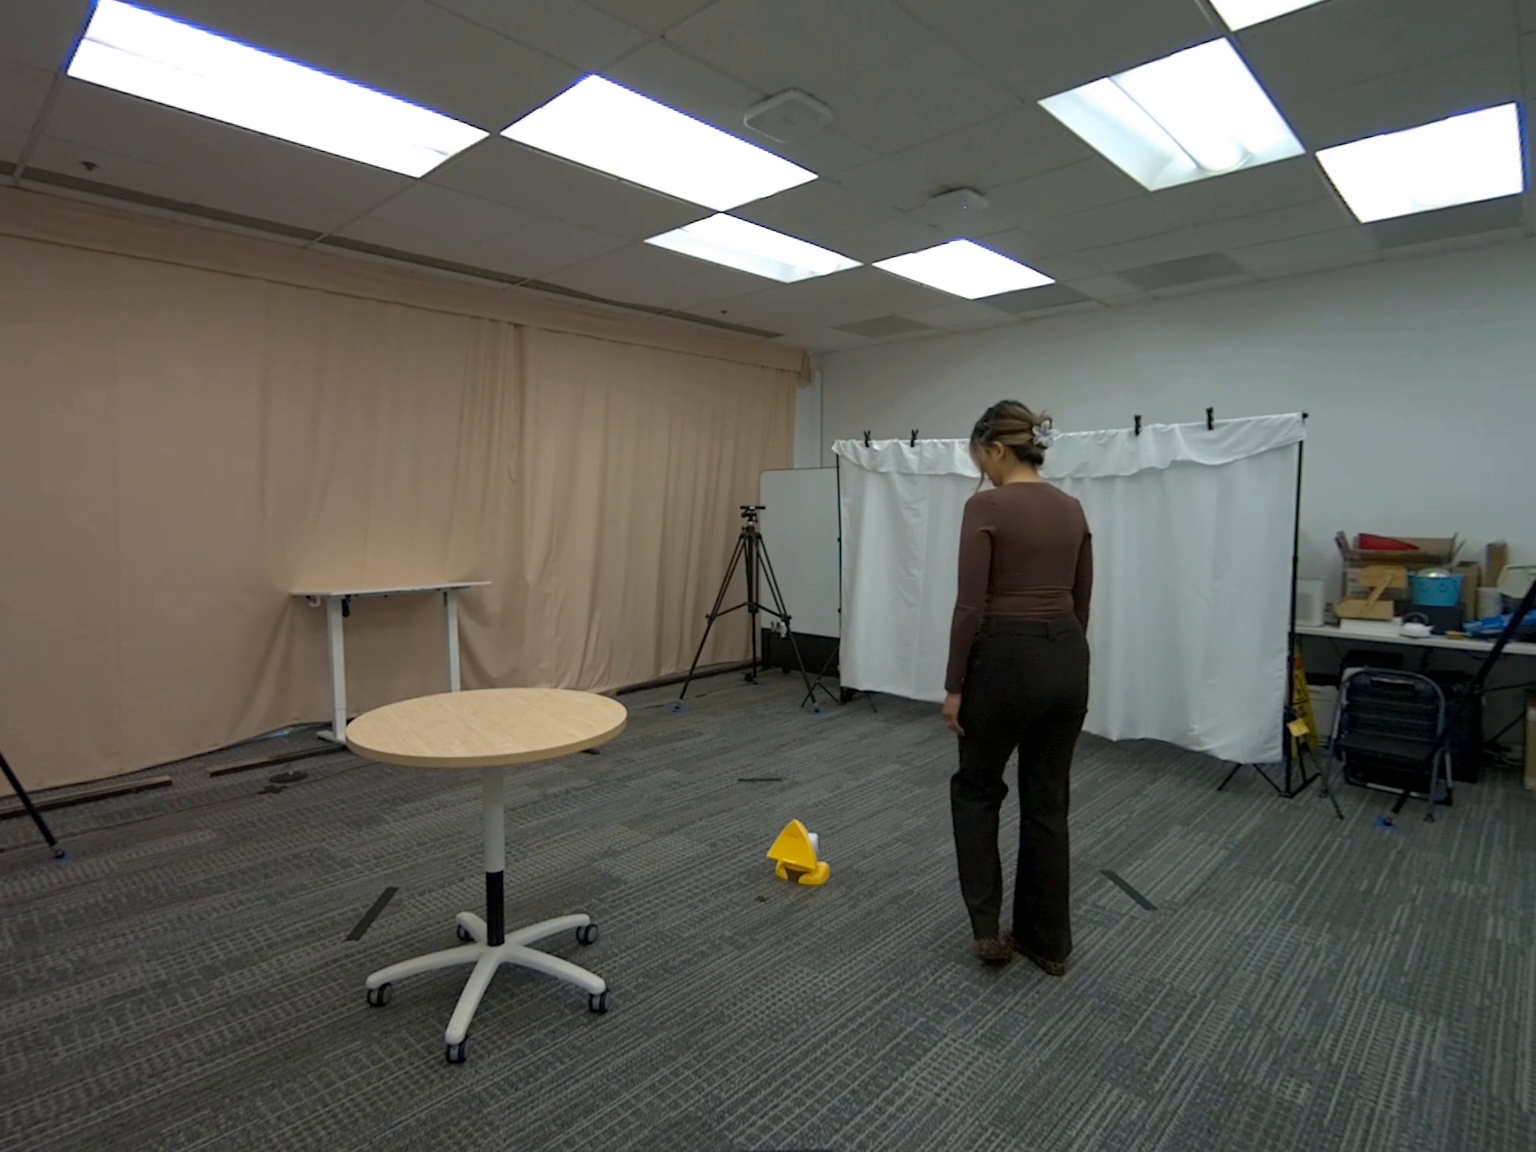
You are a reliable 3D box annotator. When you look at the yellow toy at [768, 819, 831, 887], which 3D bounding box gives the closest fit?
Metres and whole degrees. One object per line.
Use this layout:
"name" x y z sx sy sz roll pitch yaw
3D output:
"yellow toy" 0.131 1.019 3.171 0.211 0.230 0.187 2 4 33
